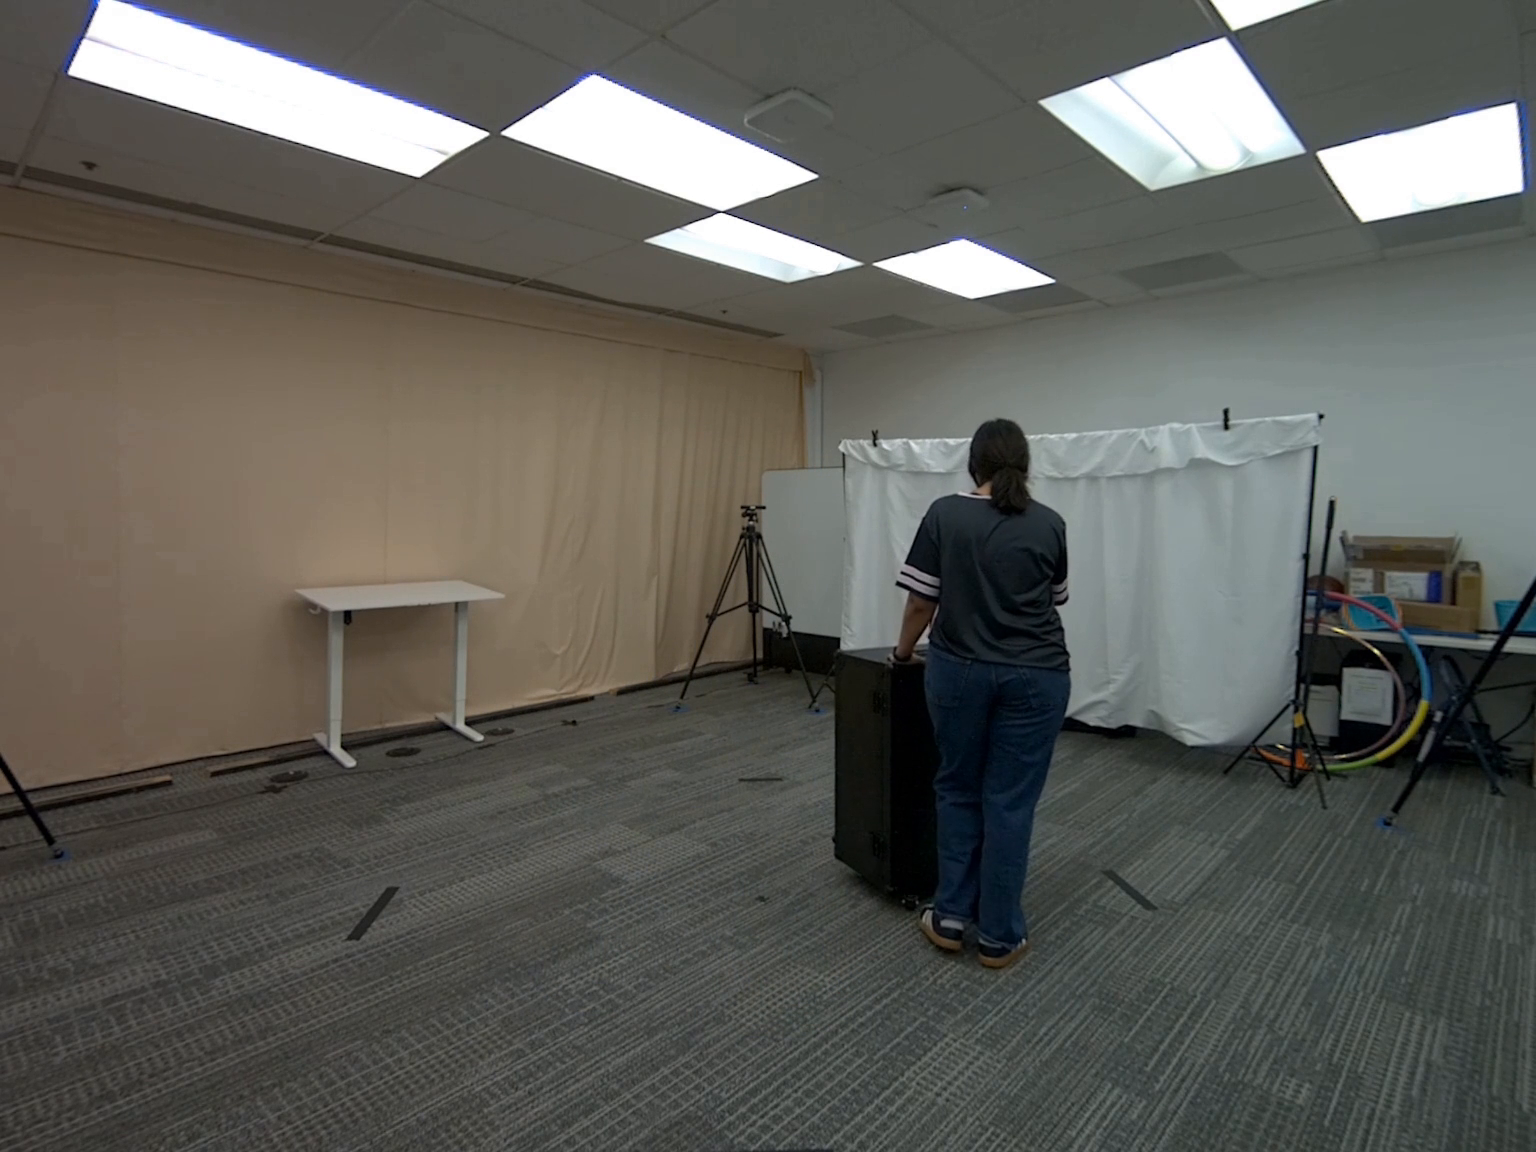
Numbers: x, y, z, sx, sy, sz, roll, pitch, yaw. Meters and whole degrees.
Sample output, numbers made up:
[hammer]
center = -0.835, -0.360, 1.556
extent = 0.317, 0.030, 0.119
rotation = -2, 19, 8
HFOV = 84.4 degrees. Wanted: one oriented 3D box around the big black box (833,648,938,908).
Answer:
[big black box]
center = 0.540, 0.708, 3.091
extent = 0.511, 0.867, 0.395
rotation = -1, 2, -26
